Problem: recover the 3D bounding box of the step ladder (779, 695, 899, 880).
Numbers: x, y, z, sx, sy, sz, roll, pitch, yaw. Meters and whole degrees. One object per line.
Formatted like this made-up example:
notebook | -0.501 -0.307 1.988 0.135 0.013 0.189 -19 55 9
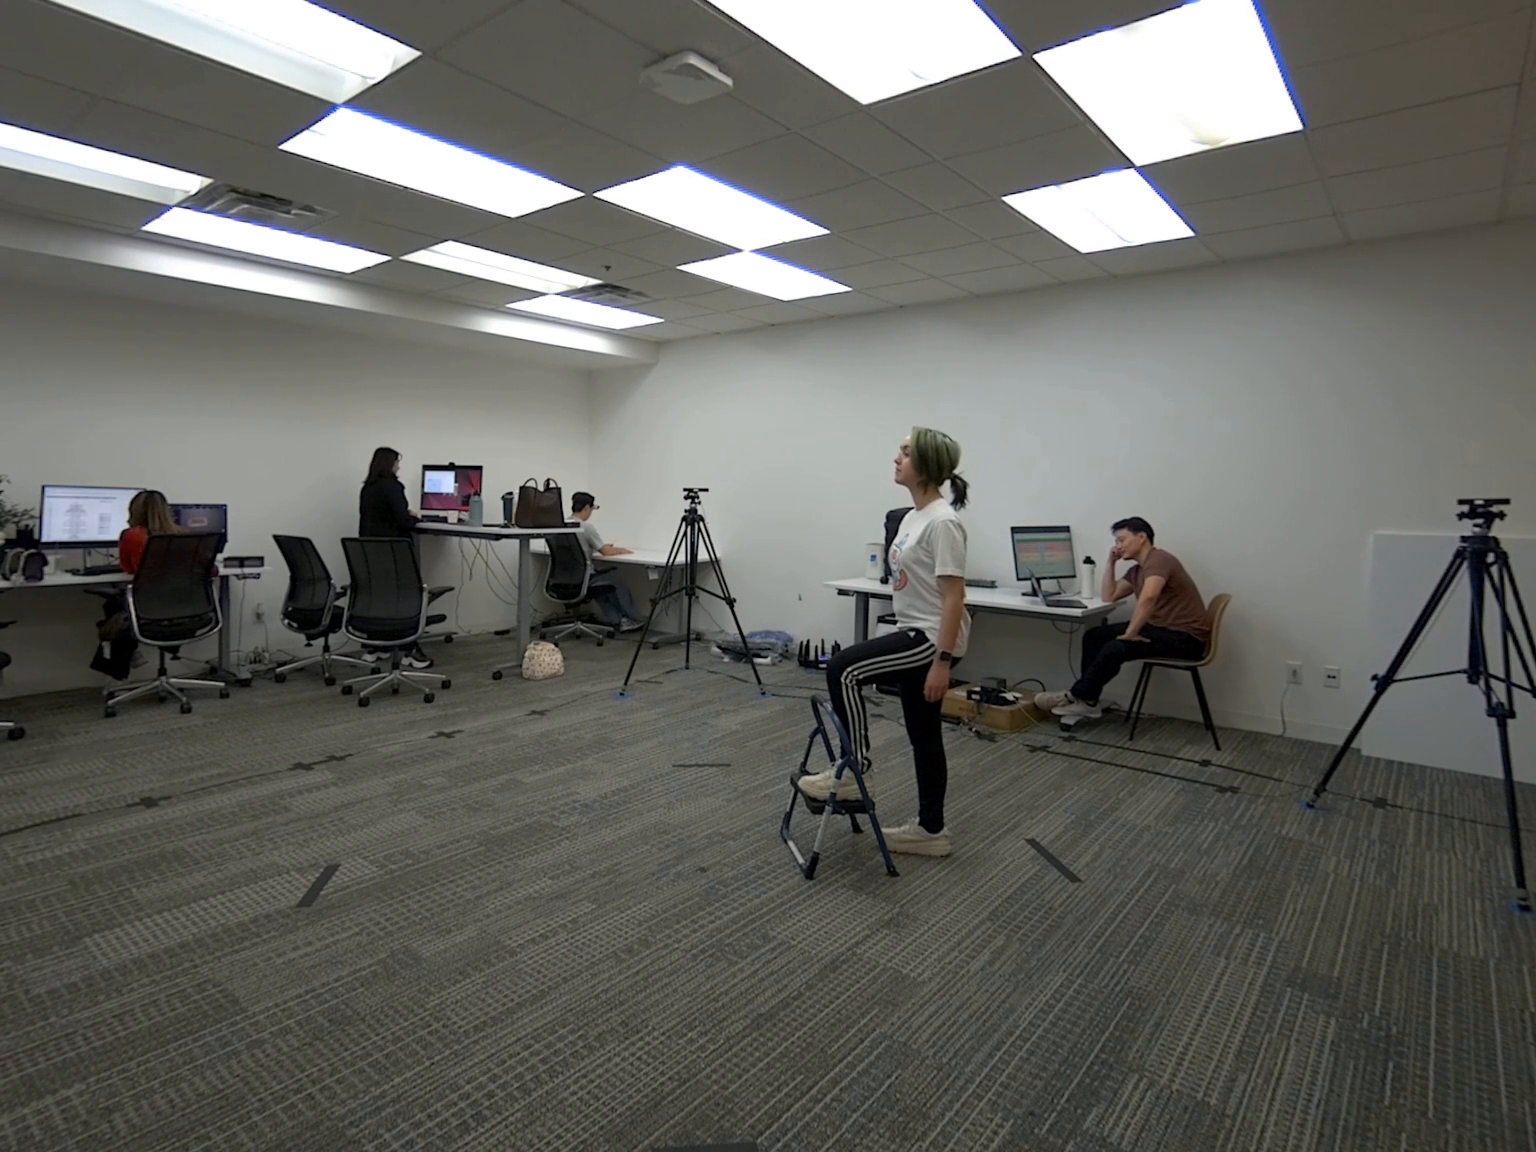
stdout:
step ladder | 0.260 0.769 3.257 0.345 0.604 0.437 1 4 -12
